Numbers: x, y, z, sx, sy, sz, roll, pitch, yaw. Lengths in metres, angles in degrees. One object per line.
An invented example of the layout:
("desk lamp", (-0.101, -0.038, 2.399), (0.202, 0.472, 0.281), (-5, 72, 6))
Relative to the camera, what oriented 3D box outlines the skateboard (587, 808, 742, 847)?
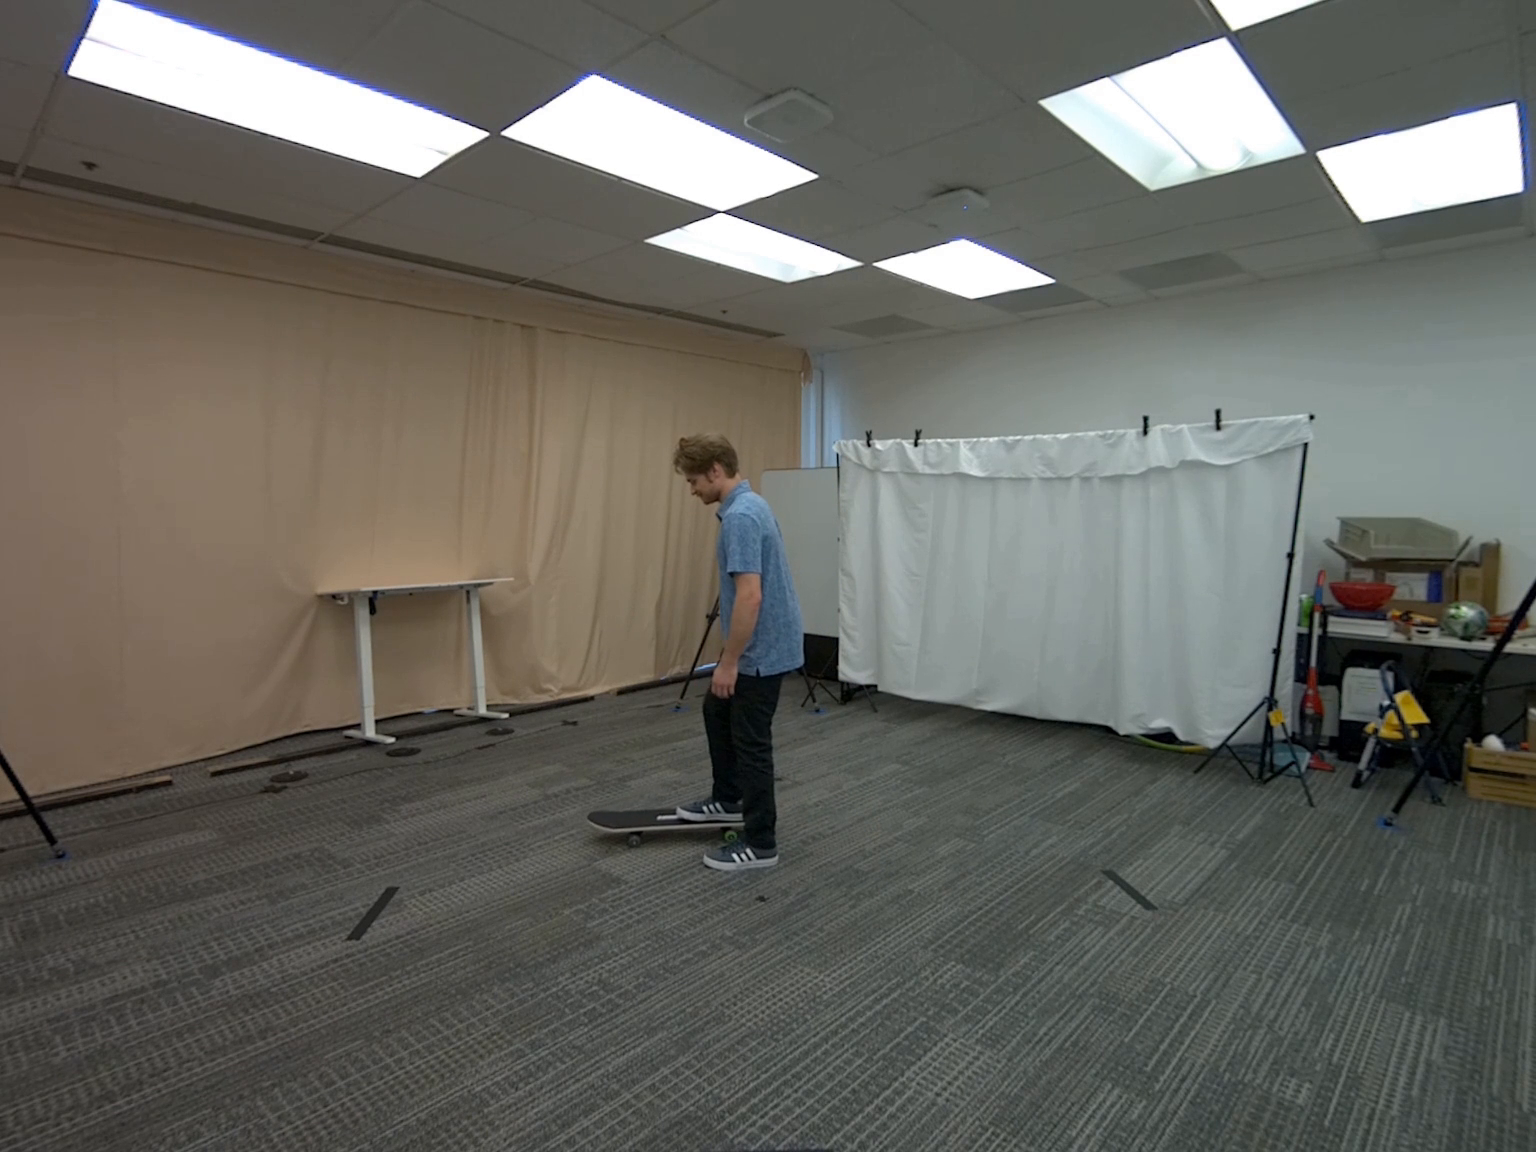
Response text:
("skateboard", (-0.359, 1.039, 3.532), (0.781, 0.110, 0.195), (-1, 5, -6))
